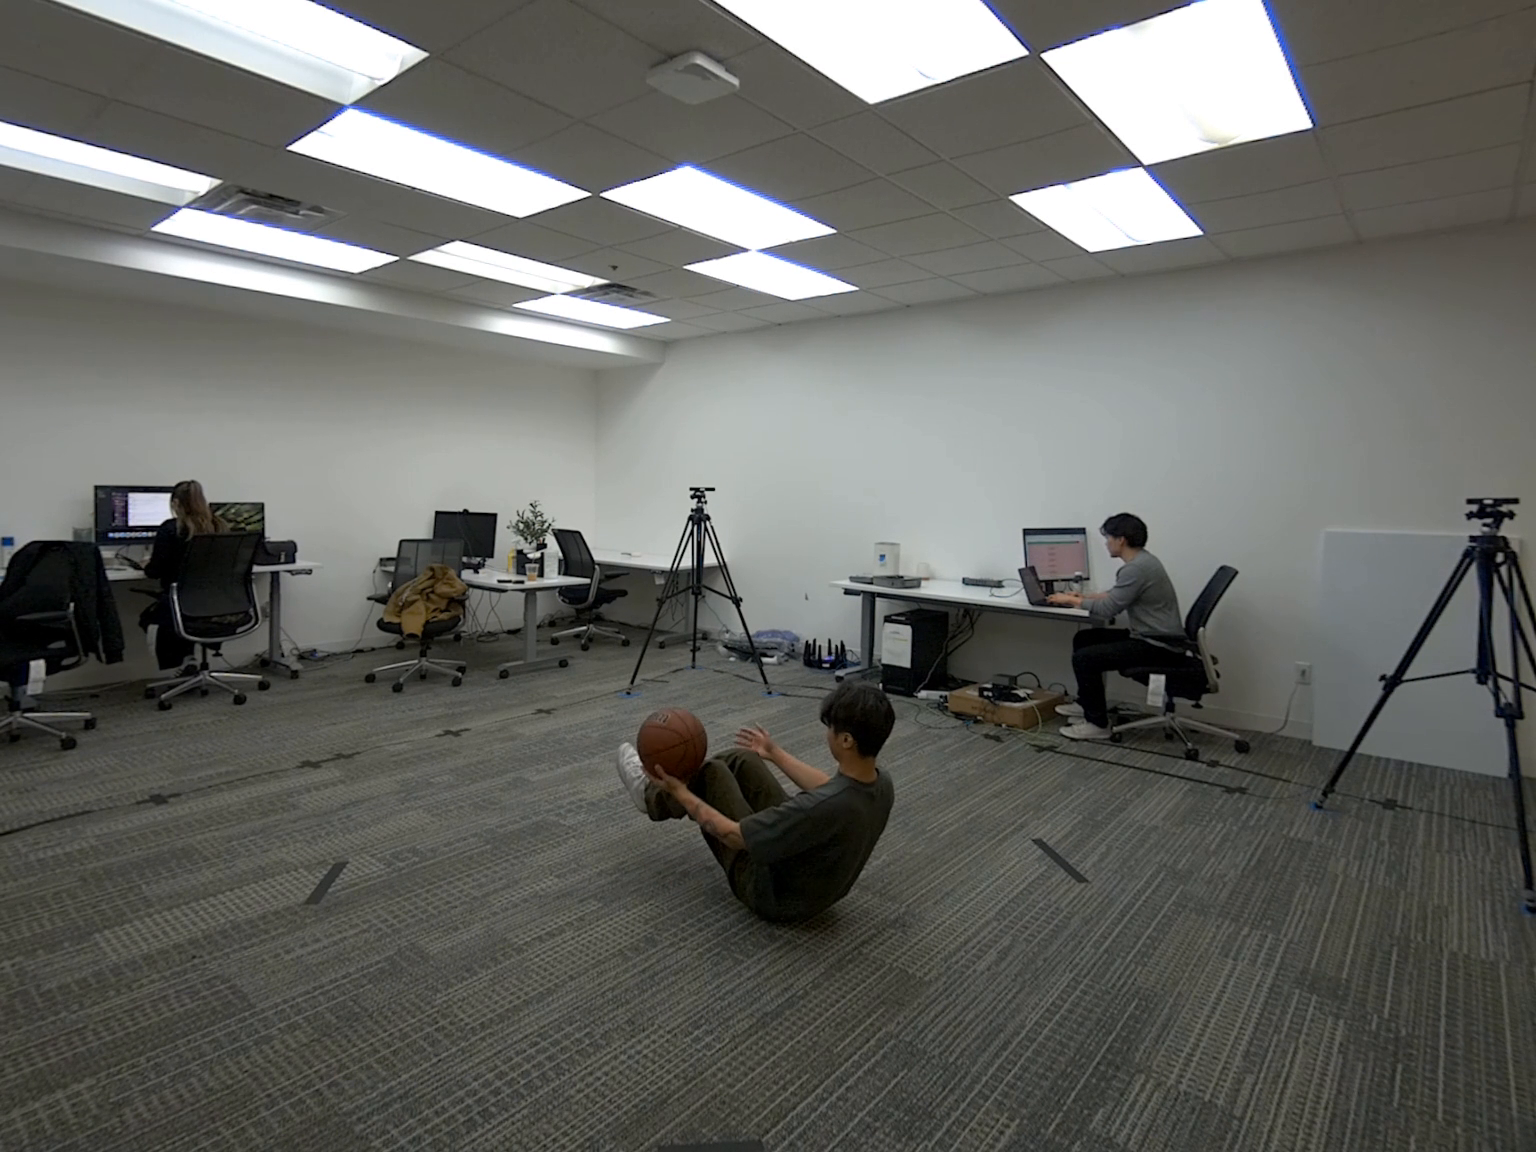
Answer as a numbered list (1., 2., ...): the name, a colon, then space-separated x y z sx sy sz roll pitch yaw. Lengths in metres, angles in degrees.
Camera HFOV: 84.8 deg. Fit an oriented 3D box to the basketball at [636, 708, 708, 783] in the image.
1. basketball: -0.326 0.567 2.853 0.235 0.235 0.237 1 4 -2
